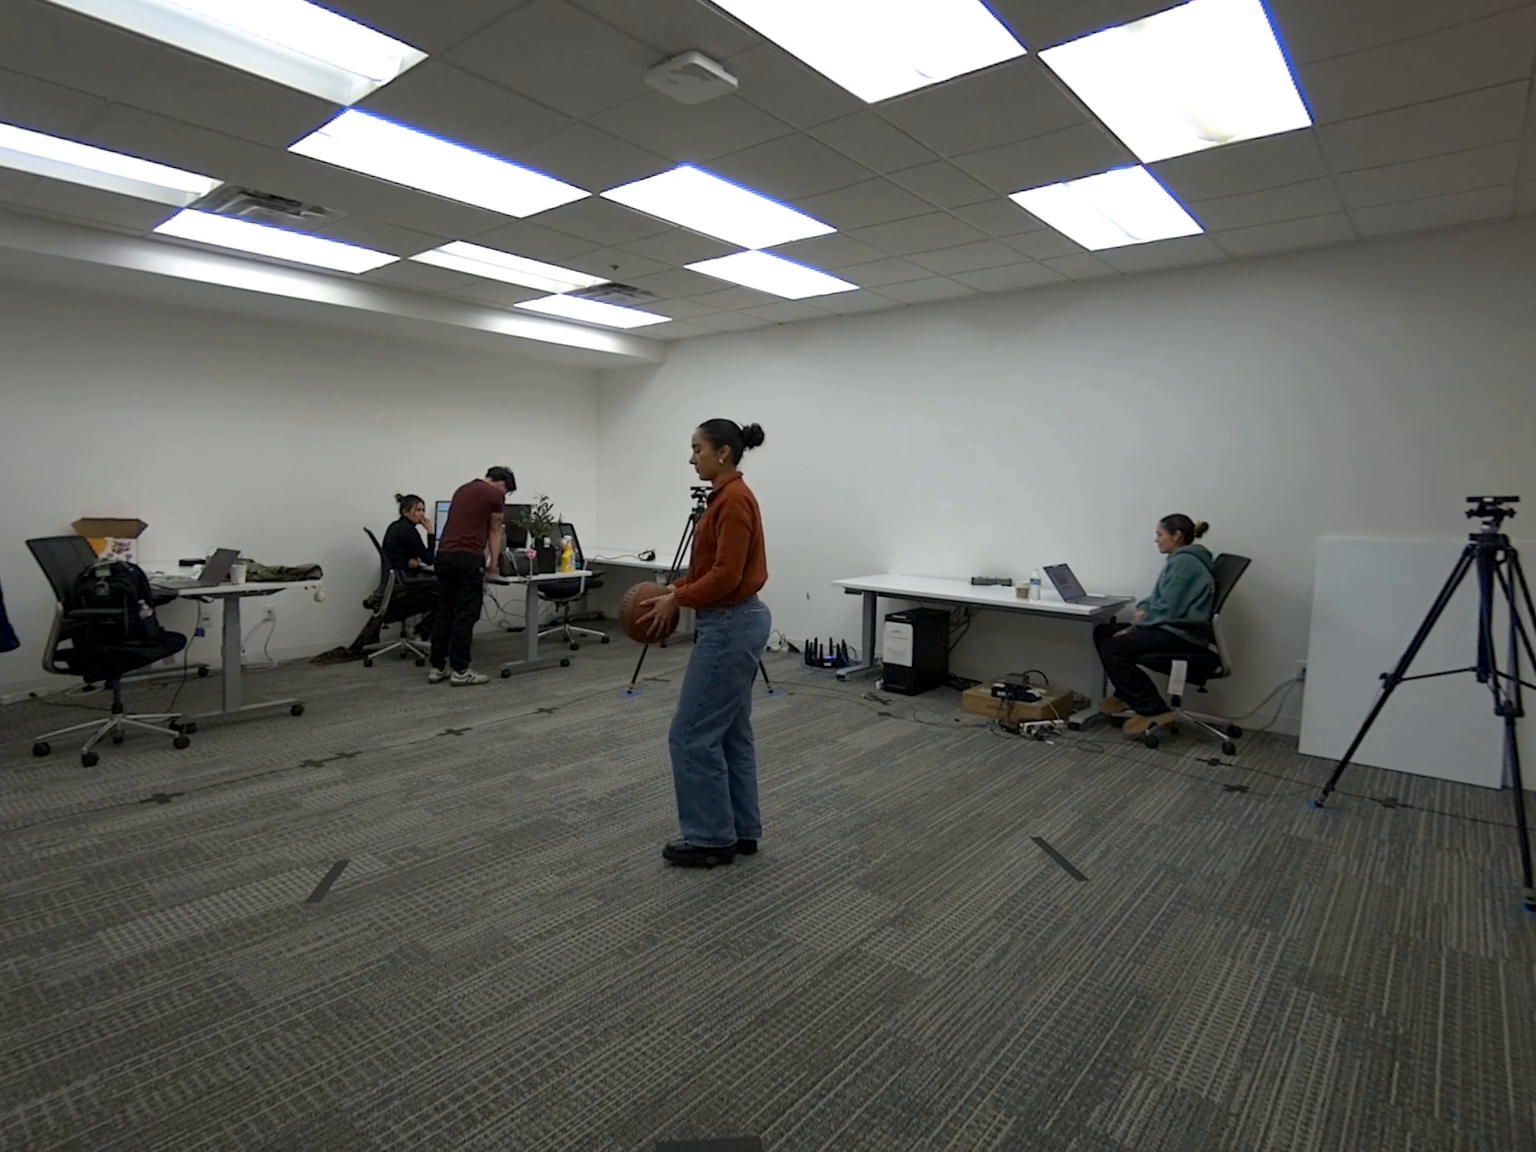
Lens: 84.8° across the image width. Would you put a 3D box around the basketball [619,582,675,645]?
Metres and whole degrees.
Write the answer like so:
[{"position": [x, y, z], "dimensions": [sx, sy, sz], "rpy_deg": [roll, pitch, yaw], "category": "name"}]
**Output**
[{"position": [-0.461, 0.137, 3.232], "dimensions": [0.236, 0.235, 0.237], "rpy_deg": [1, 4, -2], "category": "basketball"}]
